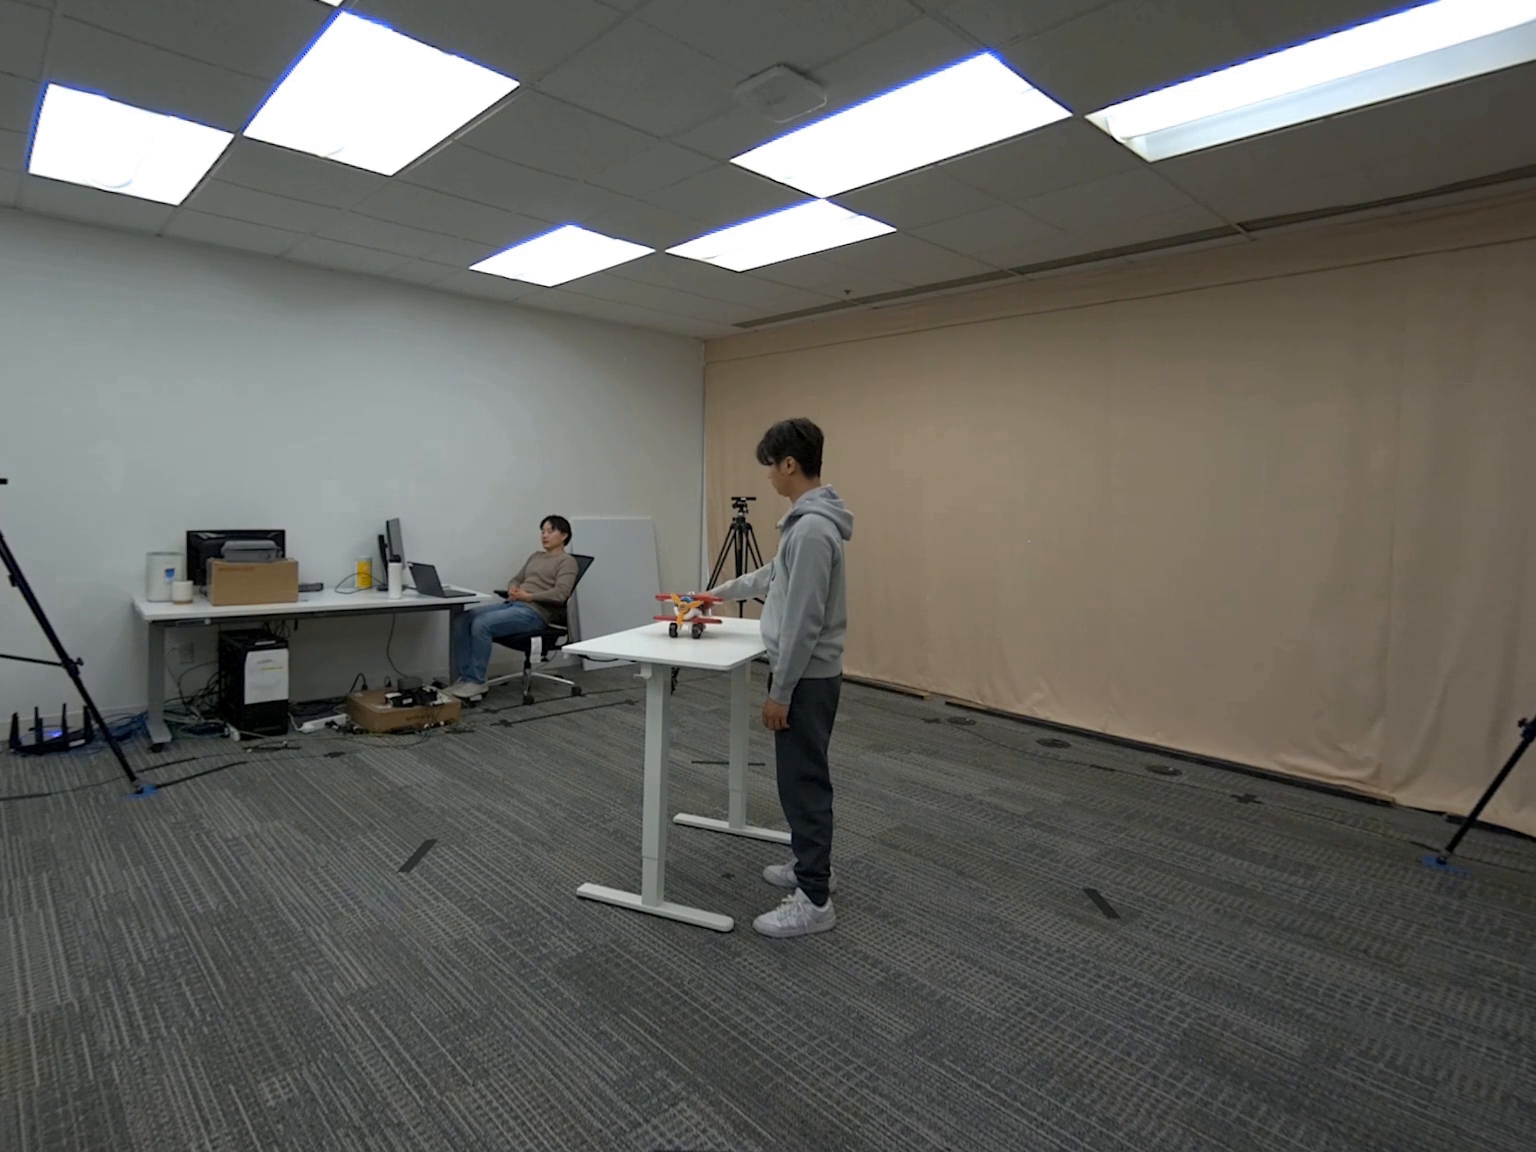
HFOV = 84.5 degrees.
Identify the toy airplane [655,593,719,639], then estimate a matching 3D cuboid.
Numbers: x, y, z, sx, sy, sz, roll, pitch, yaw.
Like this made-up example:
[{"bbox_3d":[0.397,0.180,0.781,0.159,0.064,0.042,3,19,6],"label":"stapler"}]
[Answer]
[{"bbox_3d":[-0.313,0.143,3.129,0.247,0.156,0.264,0,4,-21],"label":"toy airplane"}]
